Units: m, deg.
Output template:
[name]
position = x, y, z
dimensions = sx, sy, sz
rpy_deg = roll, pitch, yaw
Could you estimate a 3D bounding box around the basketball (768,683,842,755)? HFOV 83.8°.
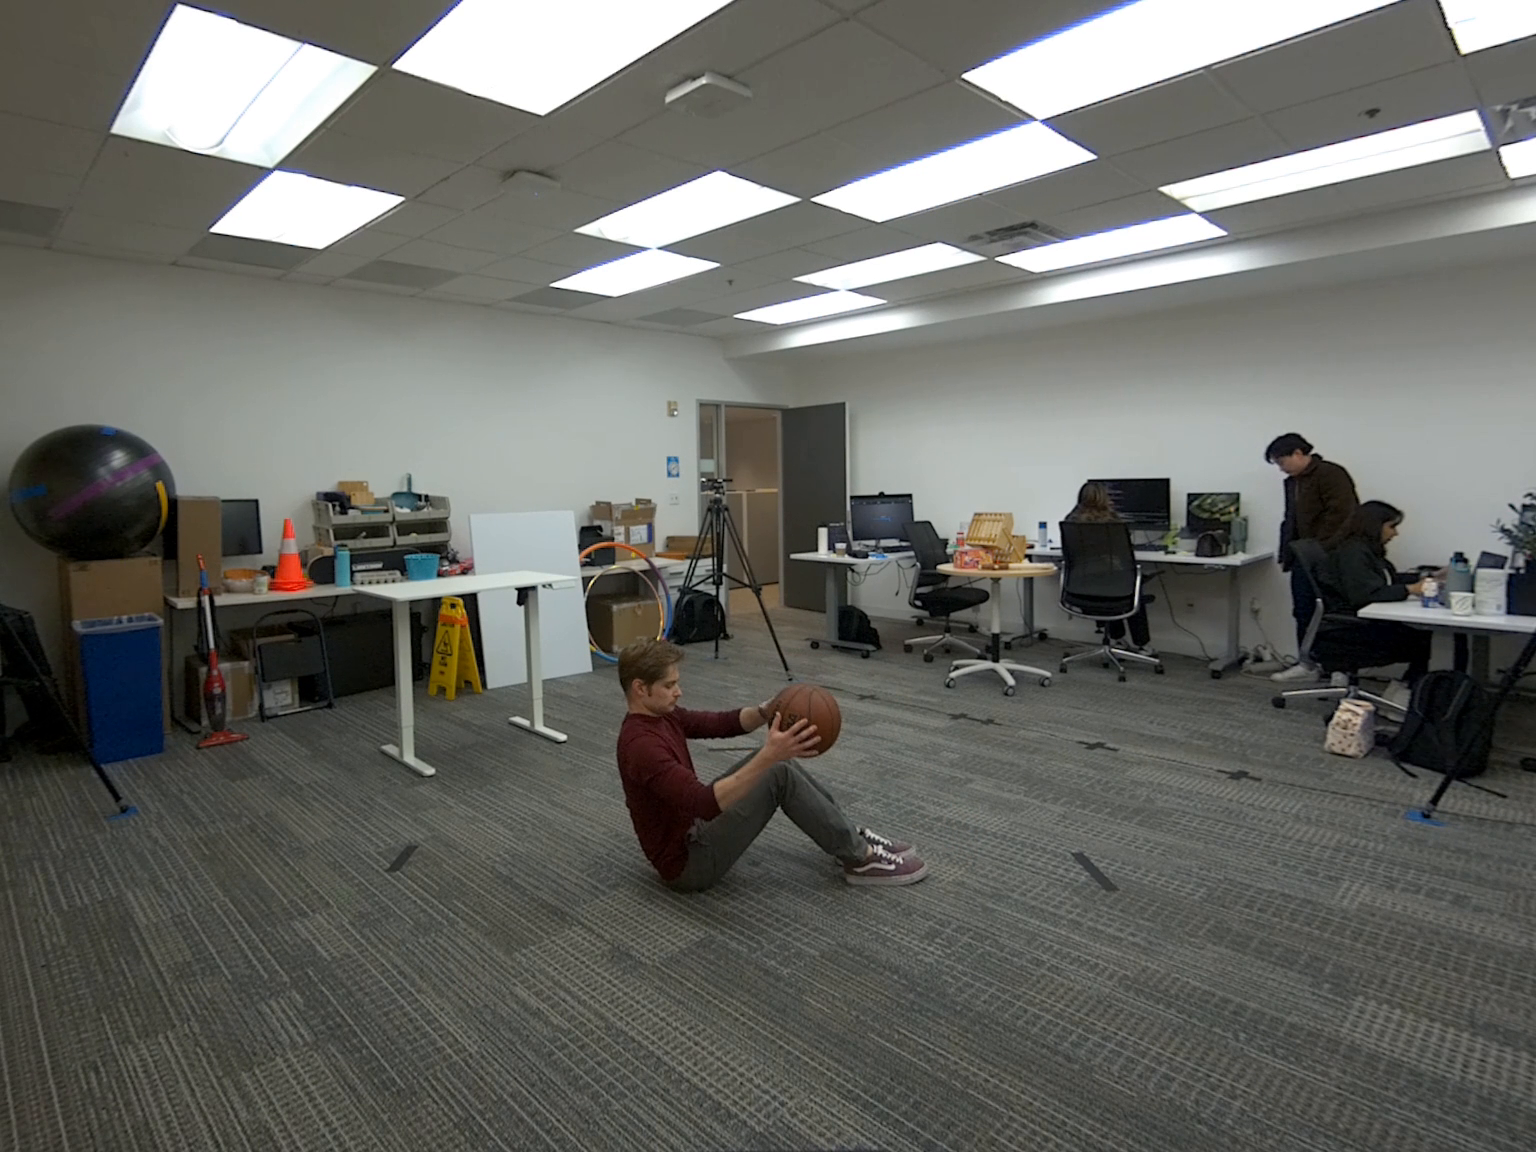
[basketball]
position = 0.114, 0.476, 2.775
dimensions = 0.236, 0.235, 0.237
rpy_deg = -1, 5, -2
